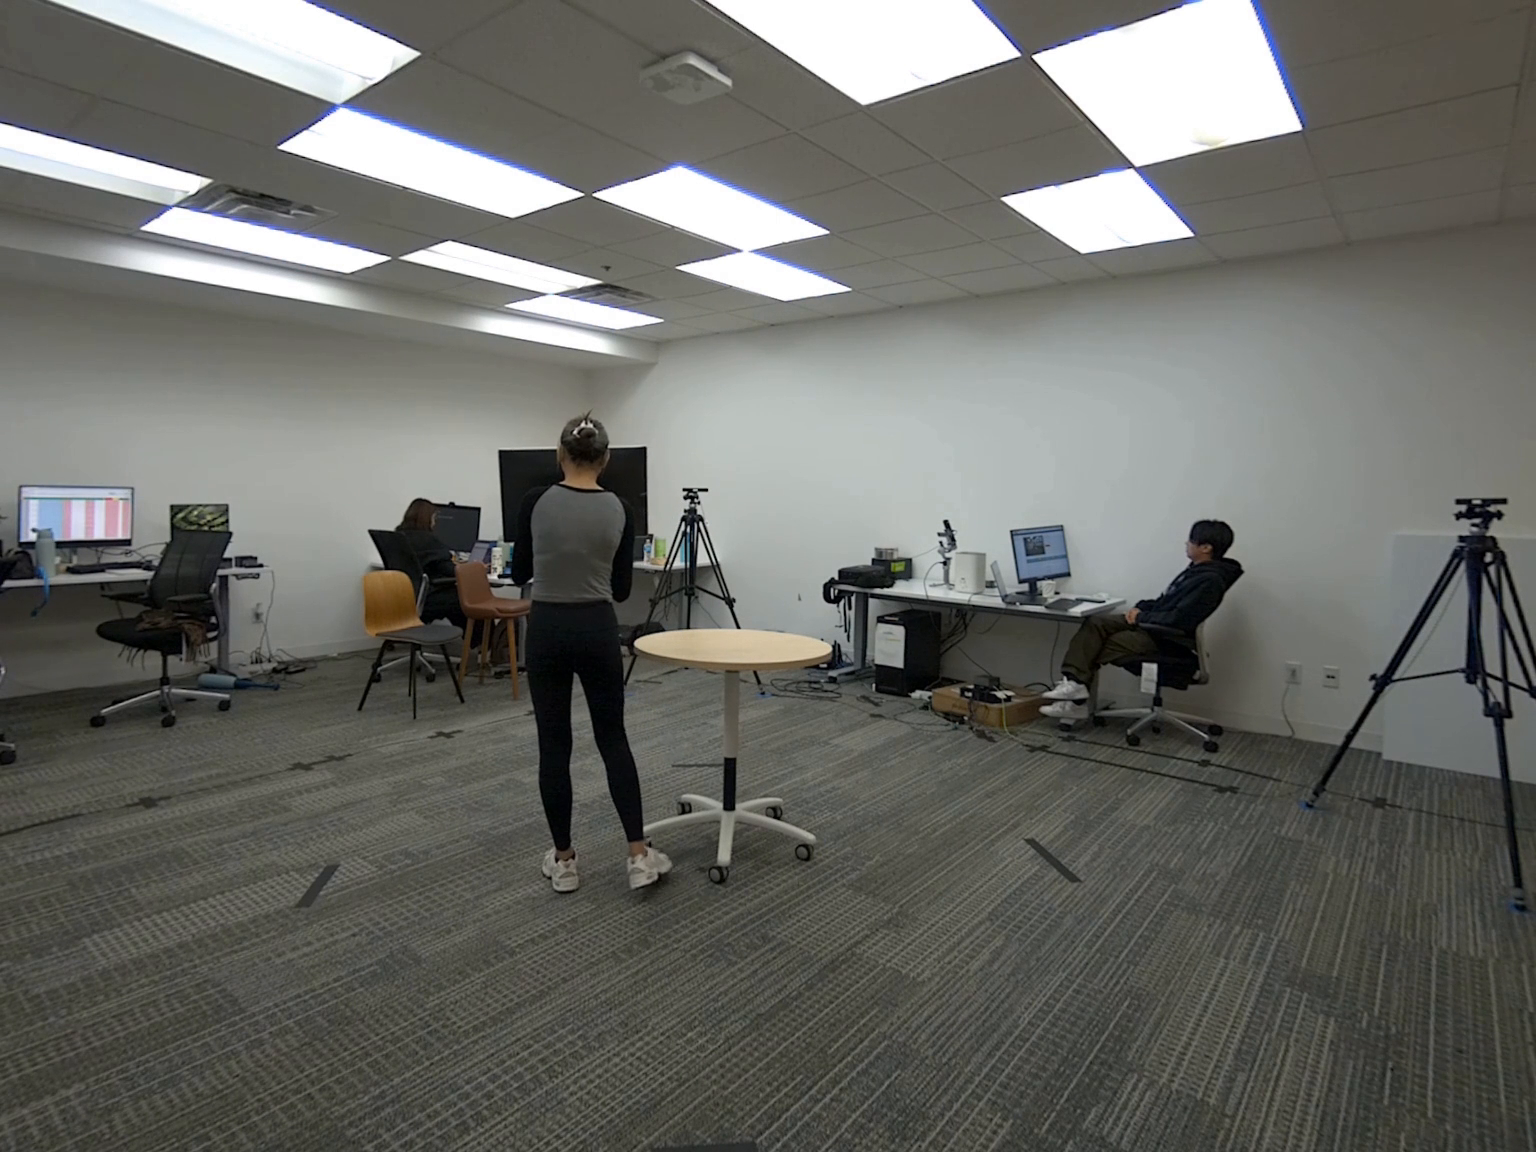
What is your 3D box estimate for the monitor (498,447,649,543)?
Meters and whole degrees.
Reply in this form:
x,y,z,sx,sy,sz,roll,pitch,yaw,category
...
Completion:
x,y,z,sx,sy,sz,roll,pitch,yaw,category
-0.734,-0.217,3.233,0.532,0.520,0.190,-2,4,-13,monitor
